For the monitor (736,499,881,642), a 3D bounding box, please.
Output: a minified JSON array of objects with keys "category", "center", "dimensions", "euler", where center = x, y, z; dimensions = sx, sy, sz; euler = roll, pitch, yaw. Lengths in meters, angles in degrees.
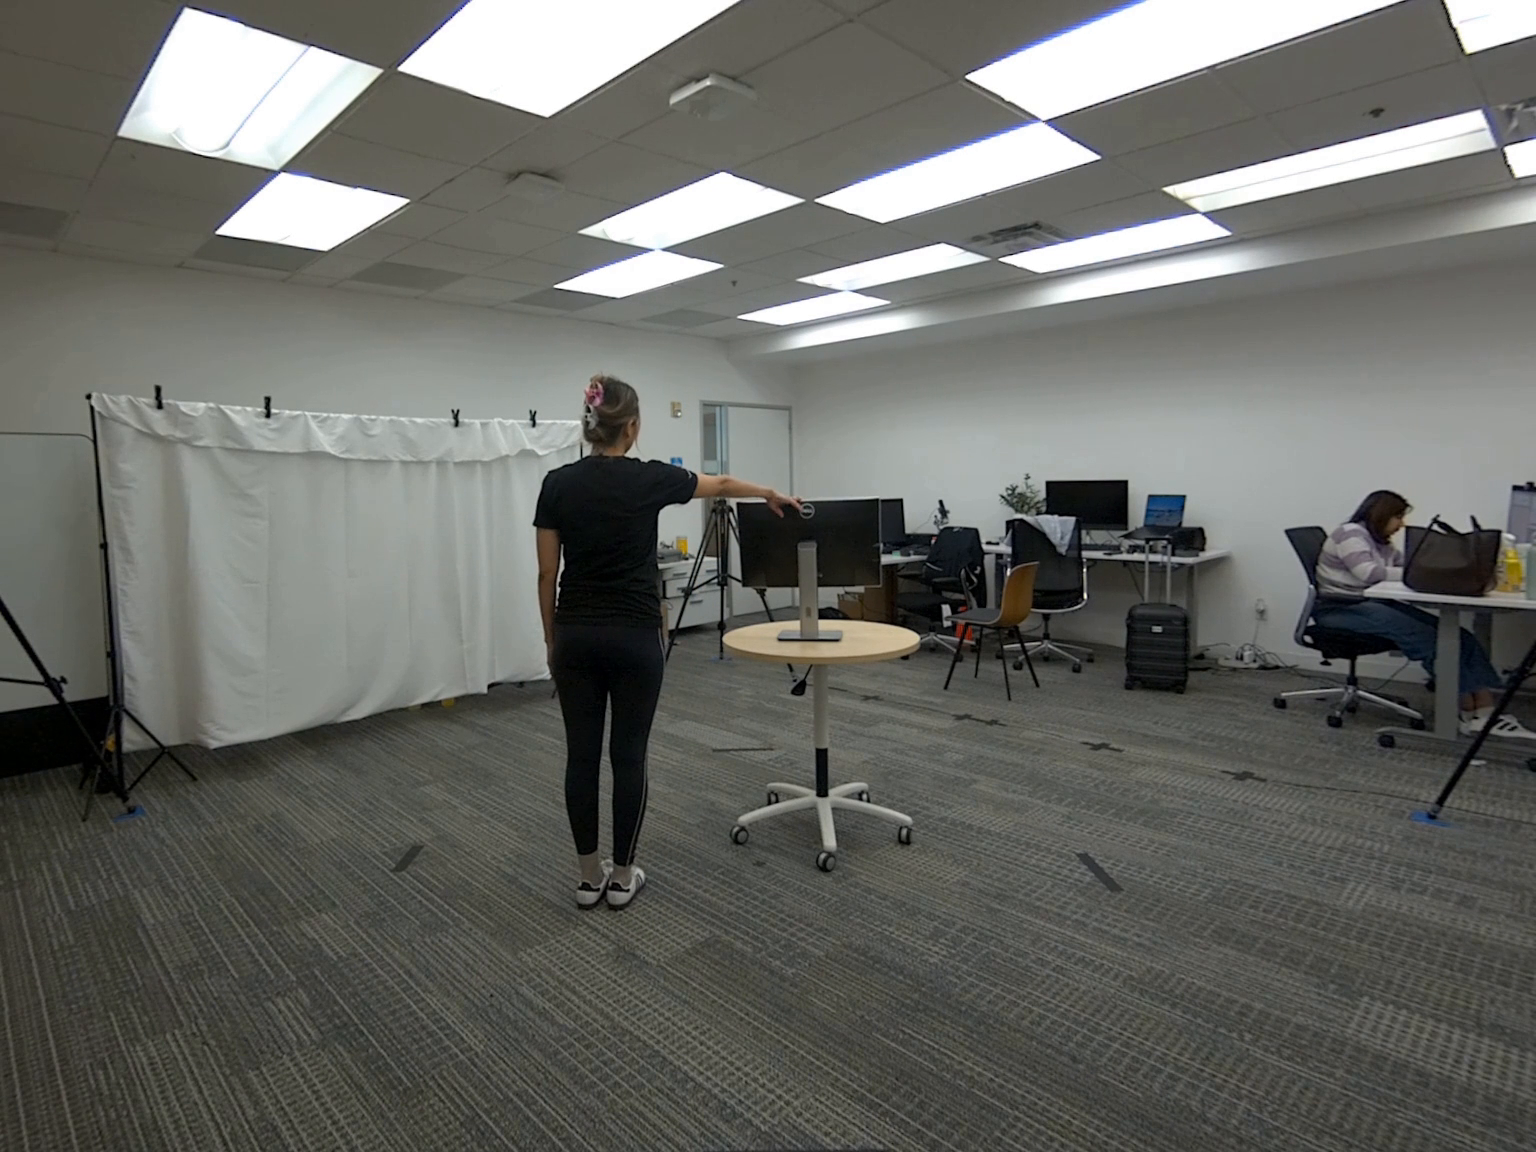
[{"category":"monitor","center":[0.155,-0.022,3.329],"dimensions":[0.543,0.521,0.186],"euler":[-1,4,8]}]
